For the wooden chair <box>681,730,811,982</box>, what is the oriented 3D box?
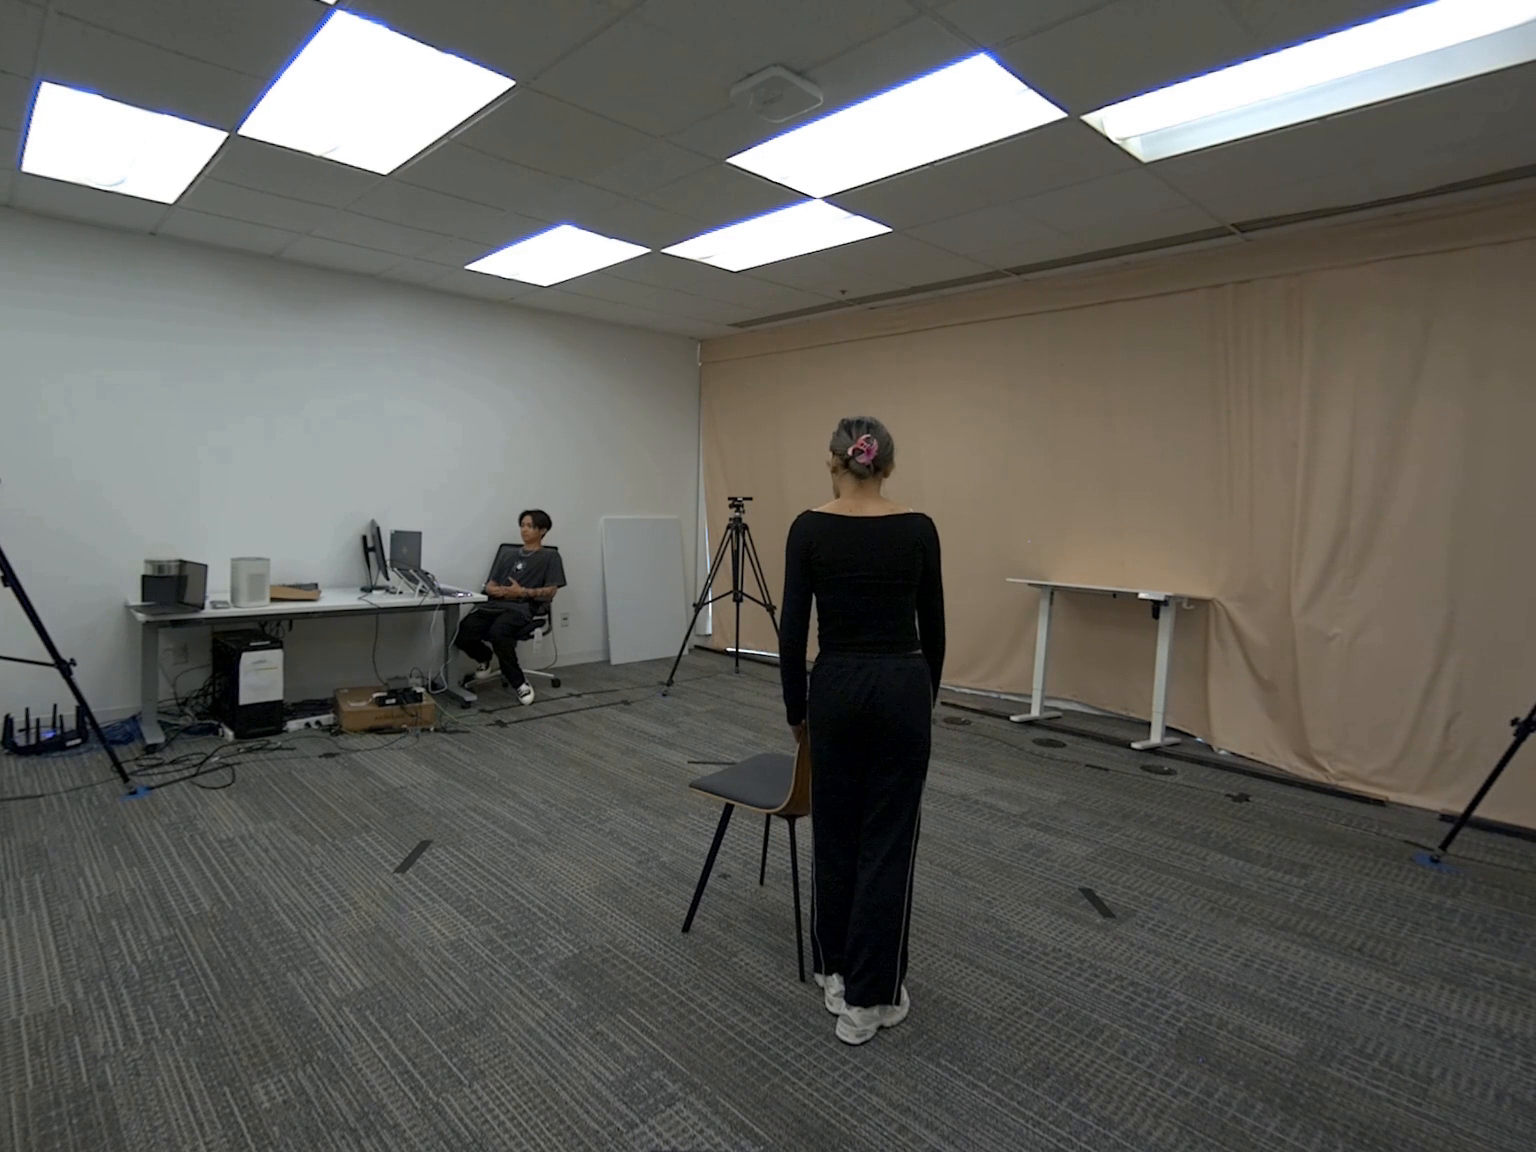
[{"bbox_3d":[0.037,0.719,2.715,0.537,0.873,0.468,9,8,35],"label":"wooden chair"}]
